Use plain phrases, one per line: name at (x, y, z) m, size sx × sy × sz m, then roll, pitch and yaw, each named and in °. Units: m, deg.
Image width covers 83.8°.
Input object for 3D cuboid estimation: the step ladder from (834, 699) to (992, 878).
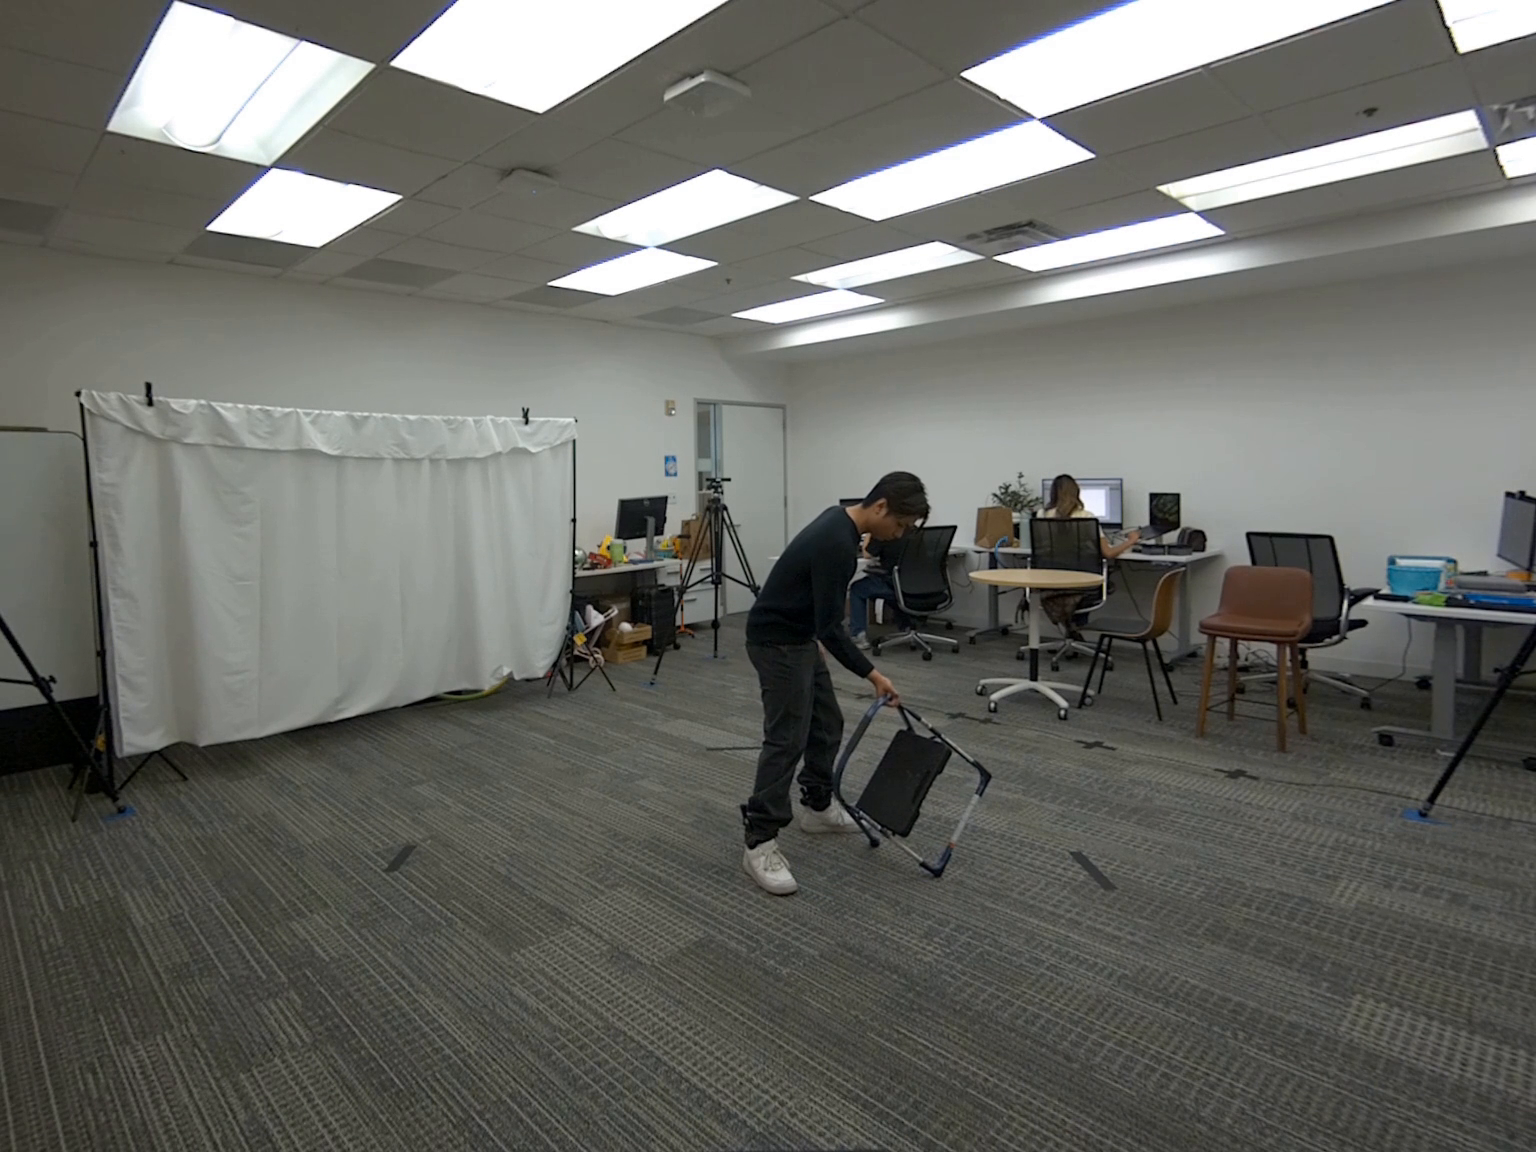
step ladder at (0.428, 0.685, 3.023) m, size 0.586 × 0.432 × 0.360 m, roll 44°, pitch -21°, yaw -30°
